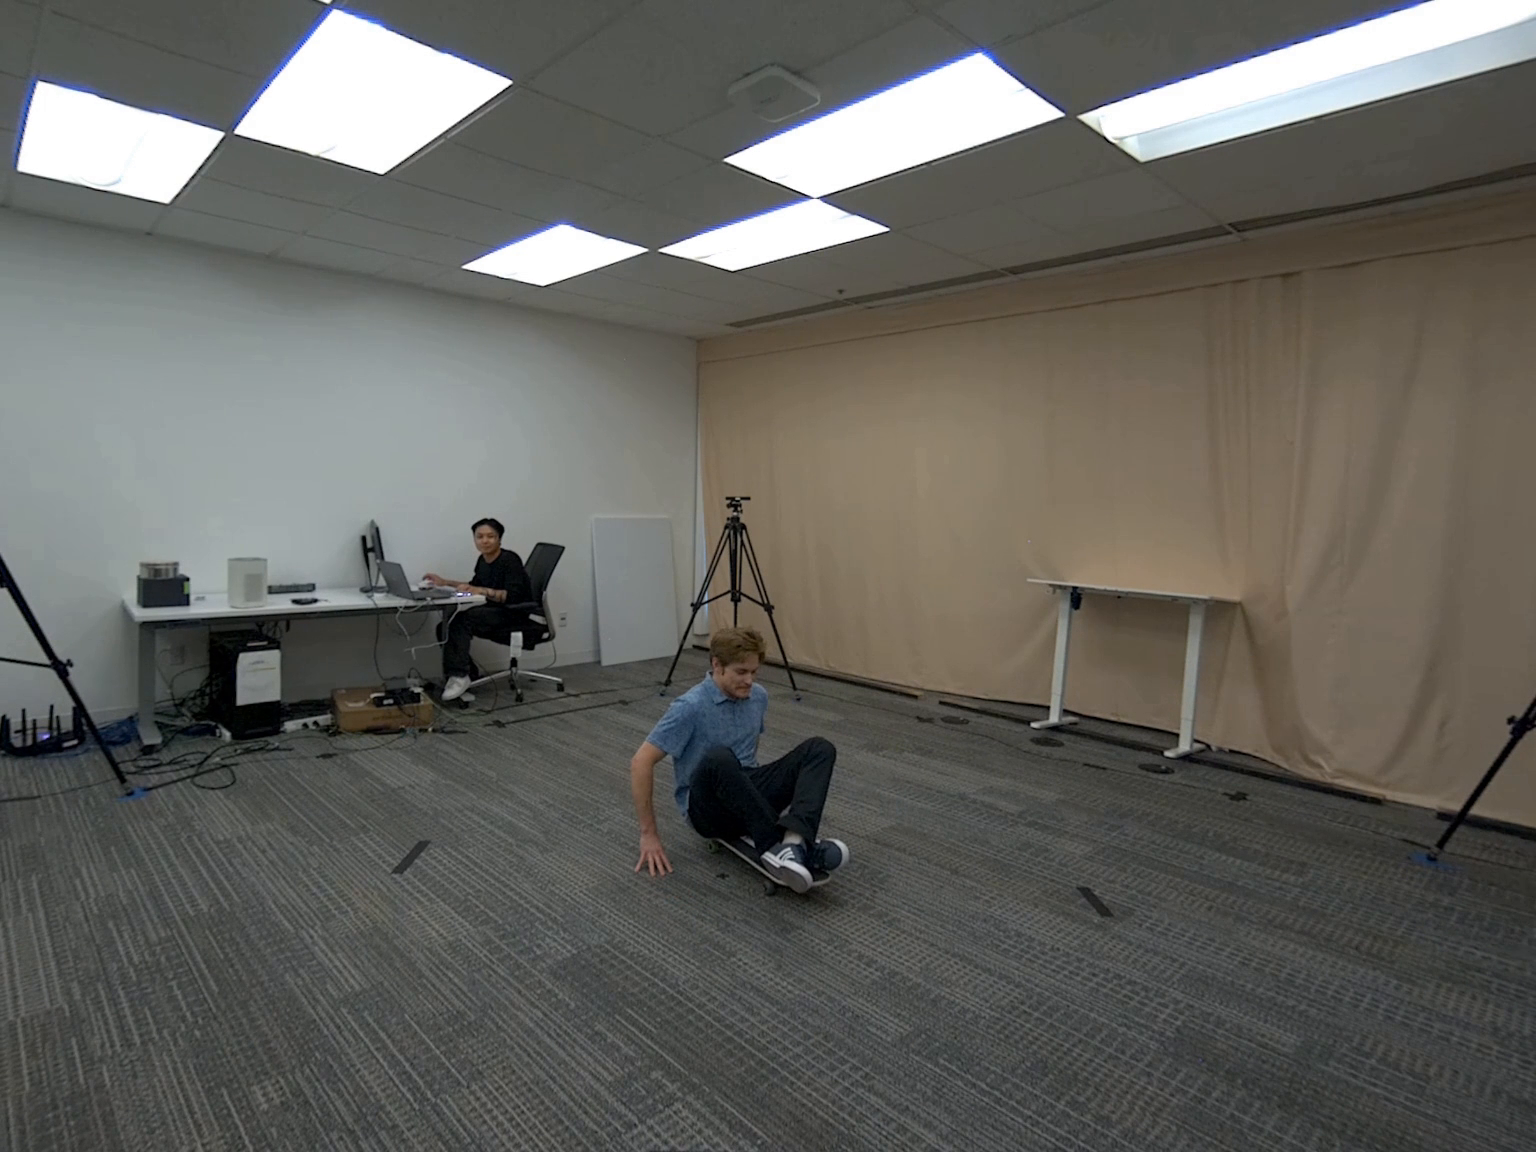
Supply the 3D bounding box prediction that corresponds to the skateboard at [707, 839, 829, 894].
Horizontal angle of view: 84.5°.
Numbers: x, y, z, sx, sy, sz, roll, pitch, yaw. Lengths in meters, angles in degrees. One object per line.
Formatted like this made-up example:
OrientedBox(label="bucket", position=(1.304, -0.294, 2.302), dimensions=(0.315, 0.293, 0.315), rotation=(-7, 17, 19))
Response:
OrientedBox(label="skateboard", position=(-0.037, 1.064, 3.174), dimensions=(0.189, 0.110, 0.804), rotation=(-1, 5, -33))
